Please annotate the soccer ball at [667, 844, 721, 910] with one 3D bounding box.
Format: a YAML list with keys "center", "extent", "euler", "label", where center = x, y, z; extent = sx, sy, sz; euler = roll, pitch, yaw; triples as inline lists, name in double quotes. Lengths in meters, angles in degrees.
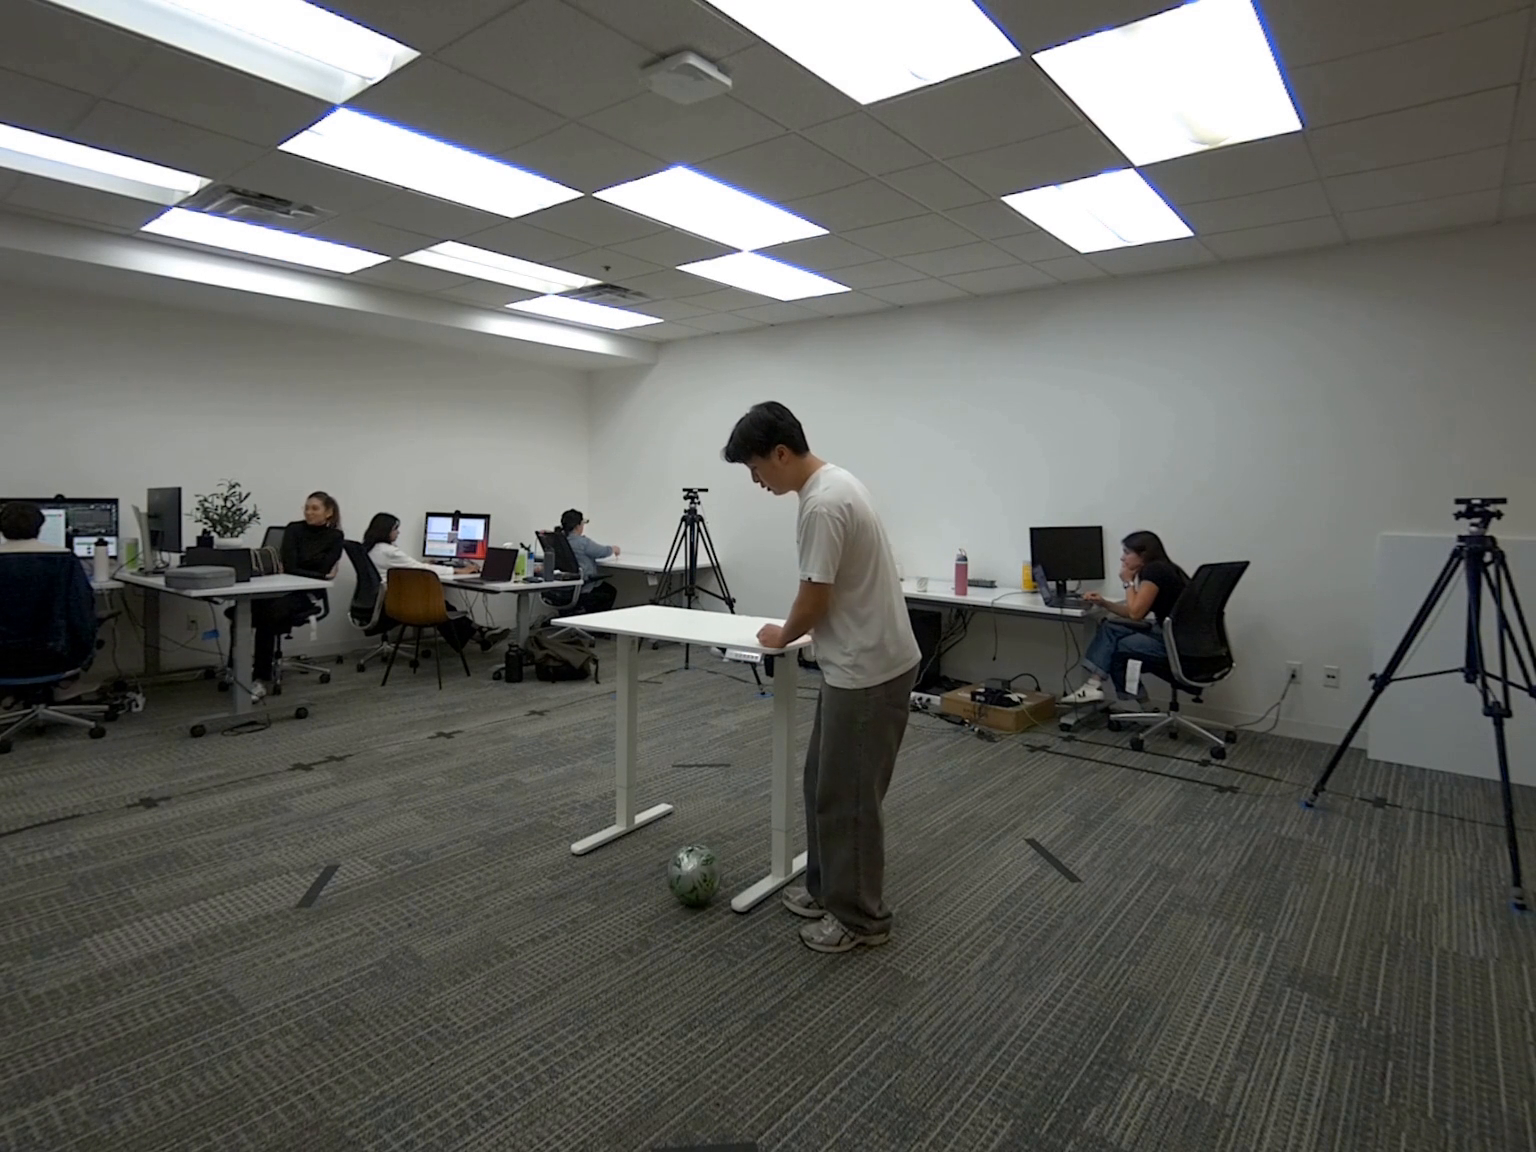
- center: [-0.246, 0.998, 2.856]
  extent: [0.187, 0.187, 0.188]
  euler: [1, 4, -2]
  label: "soccer ball"
